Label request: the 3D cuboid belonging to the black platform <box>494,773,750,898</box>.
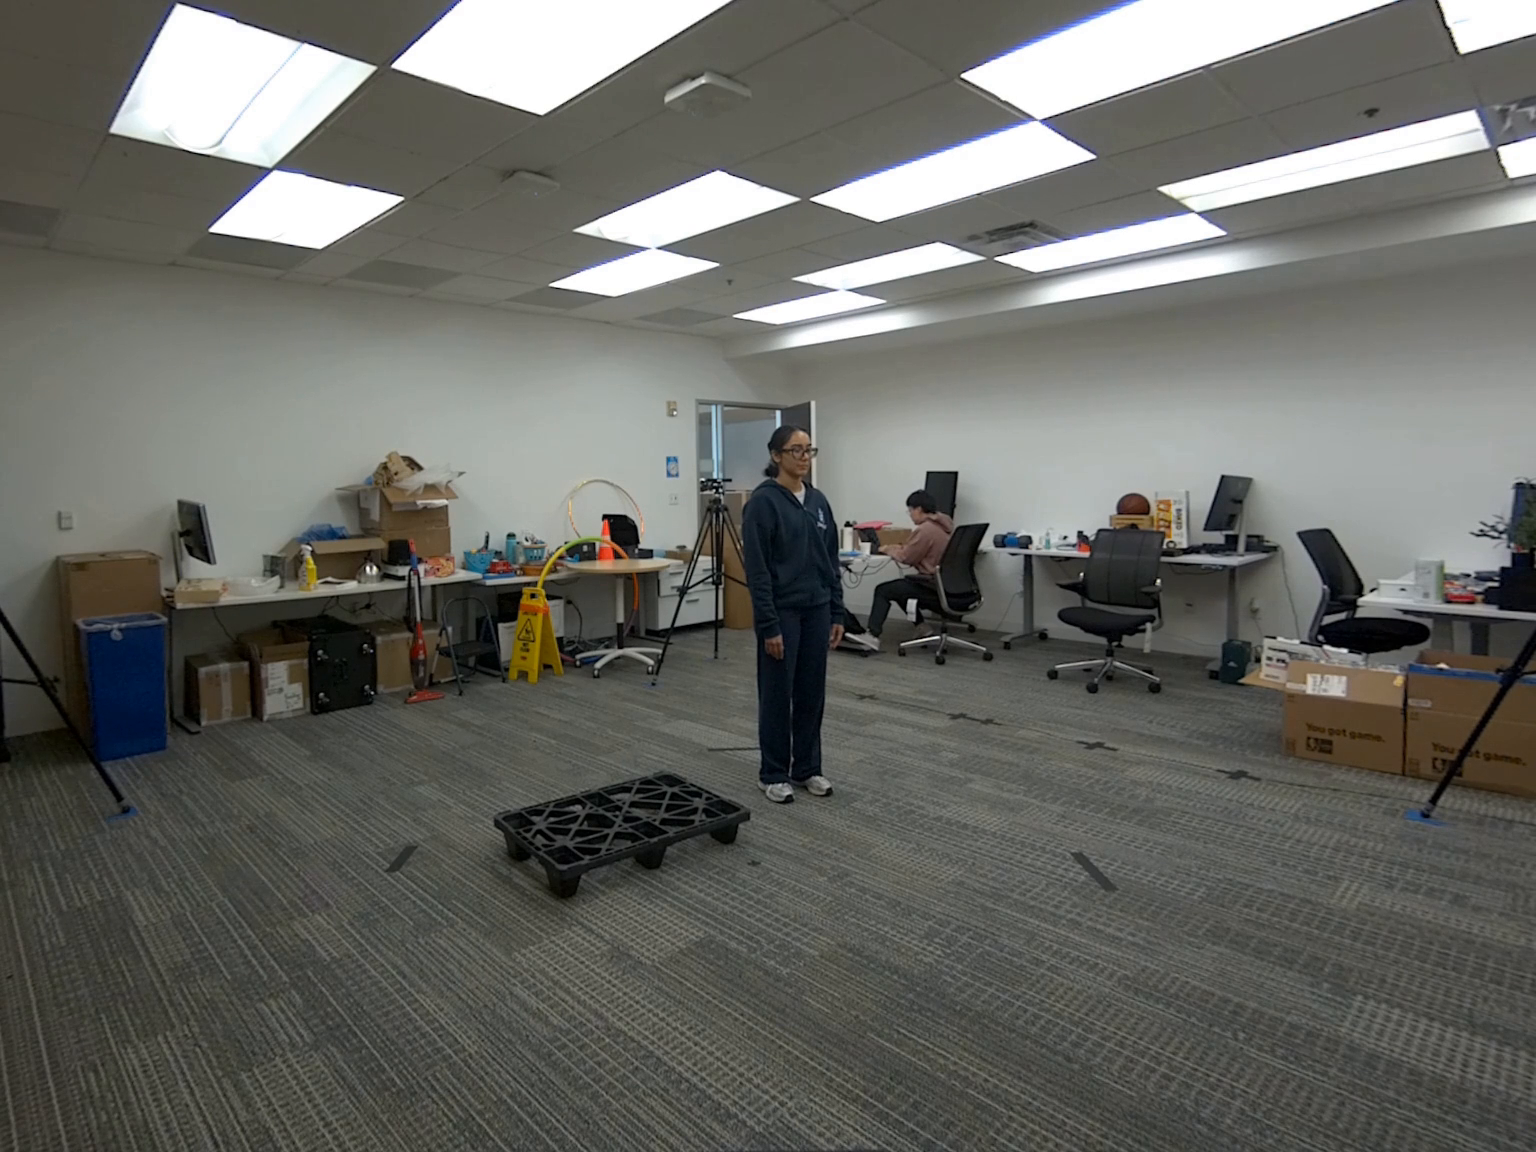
[{"bbox_3d":[-0.547,0.968,3.259,0.785,0.142,0.624,-6,8,-37],"label":"black platform"}]
